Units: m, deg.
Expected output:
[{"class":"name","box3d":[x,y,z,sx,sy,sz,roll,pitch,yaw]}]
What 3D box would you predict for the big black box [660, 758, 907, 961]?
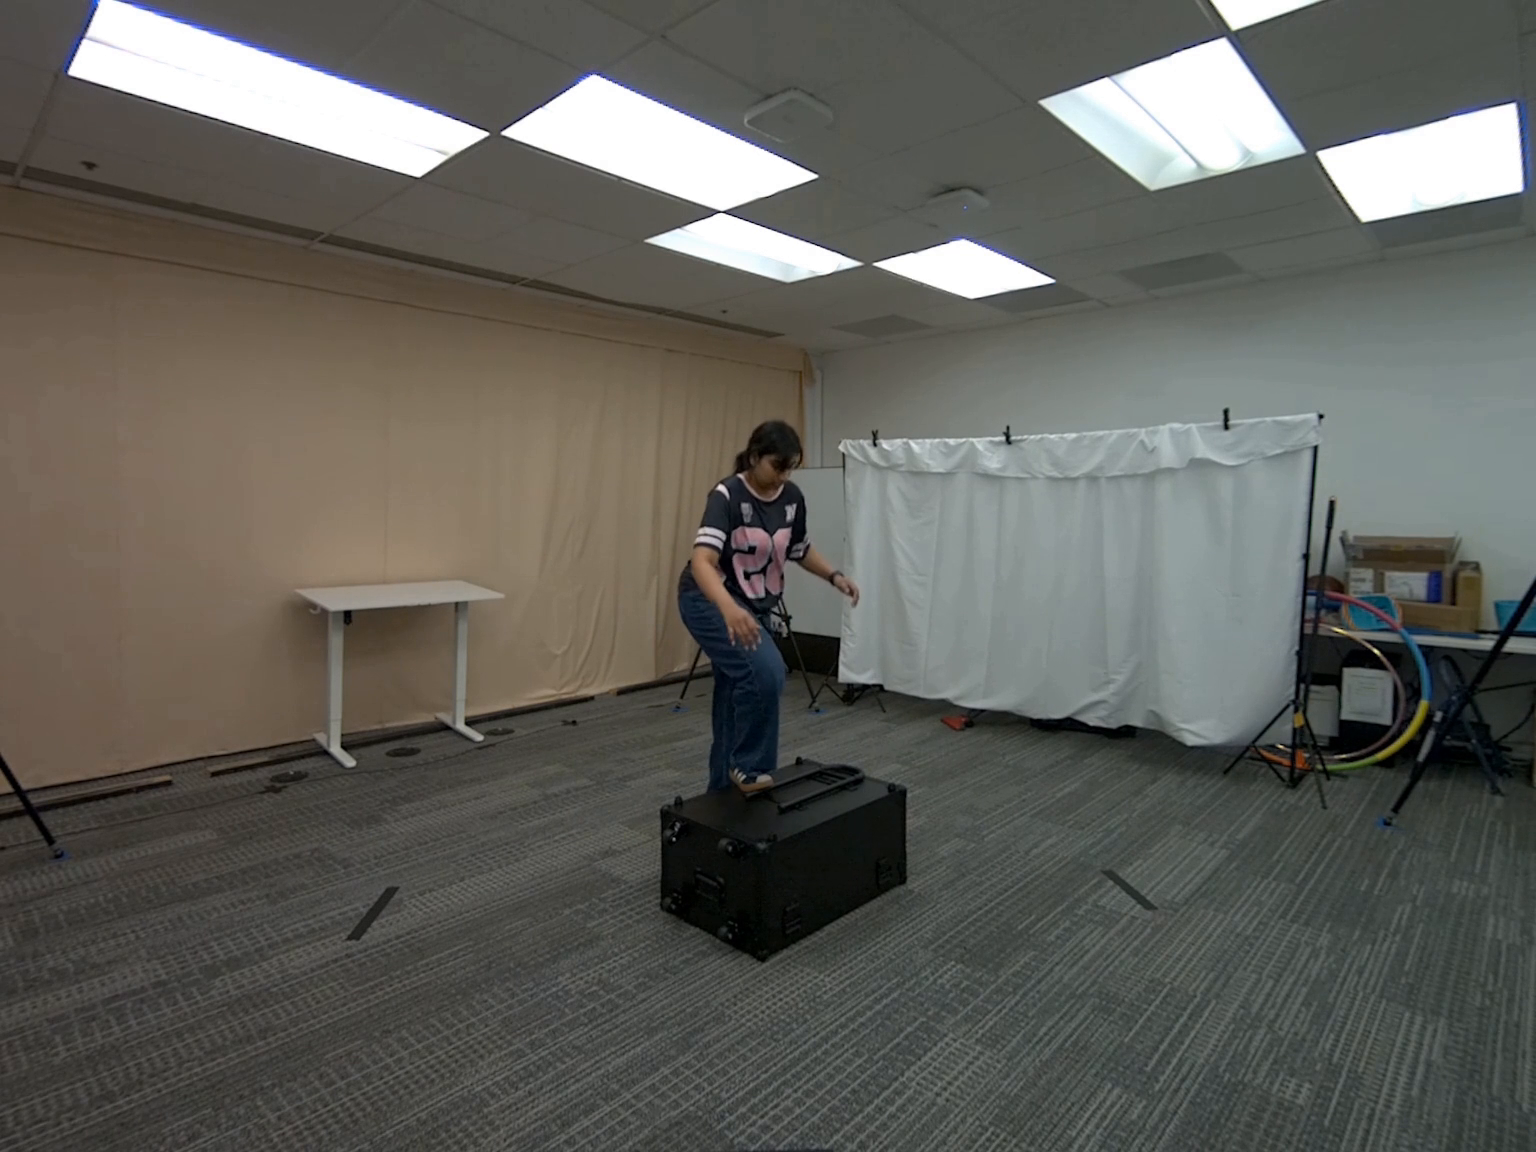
[{"class":"big black box","box3d":[0.055,0.961,2.965,0.541,0.384,0.842,5,7,44]}]
